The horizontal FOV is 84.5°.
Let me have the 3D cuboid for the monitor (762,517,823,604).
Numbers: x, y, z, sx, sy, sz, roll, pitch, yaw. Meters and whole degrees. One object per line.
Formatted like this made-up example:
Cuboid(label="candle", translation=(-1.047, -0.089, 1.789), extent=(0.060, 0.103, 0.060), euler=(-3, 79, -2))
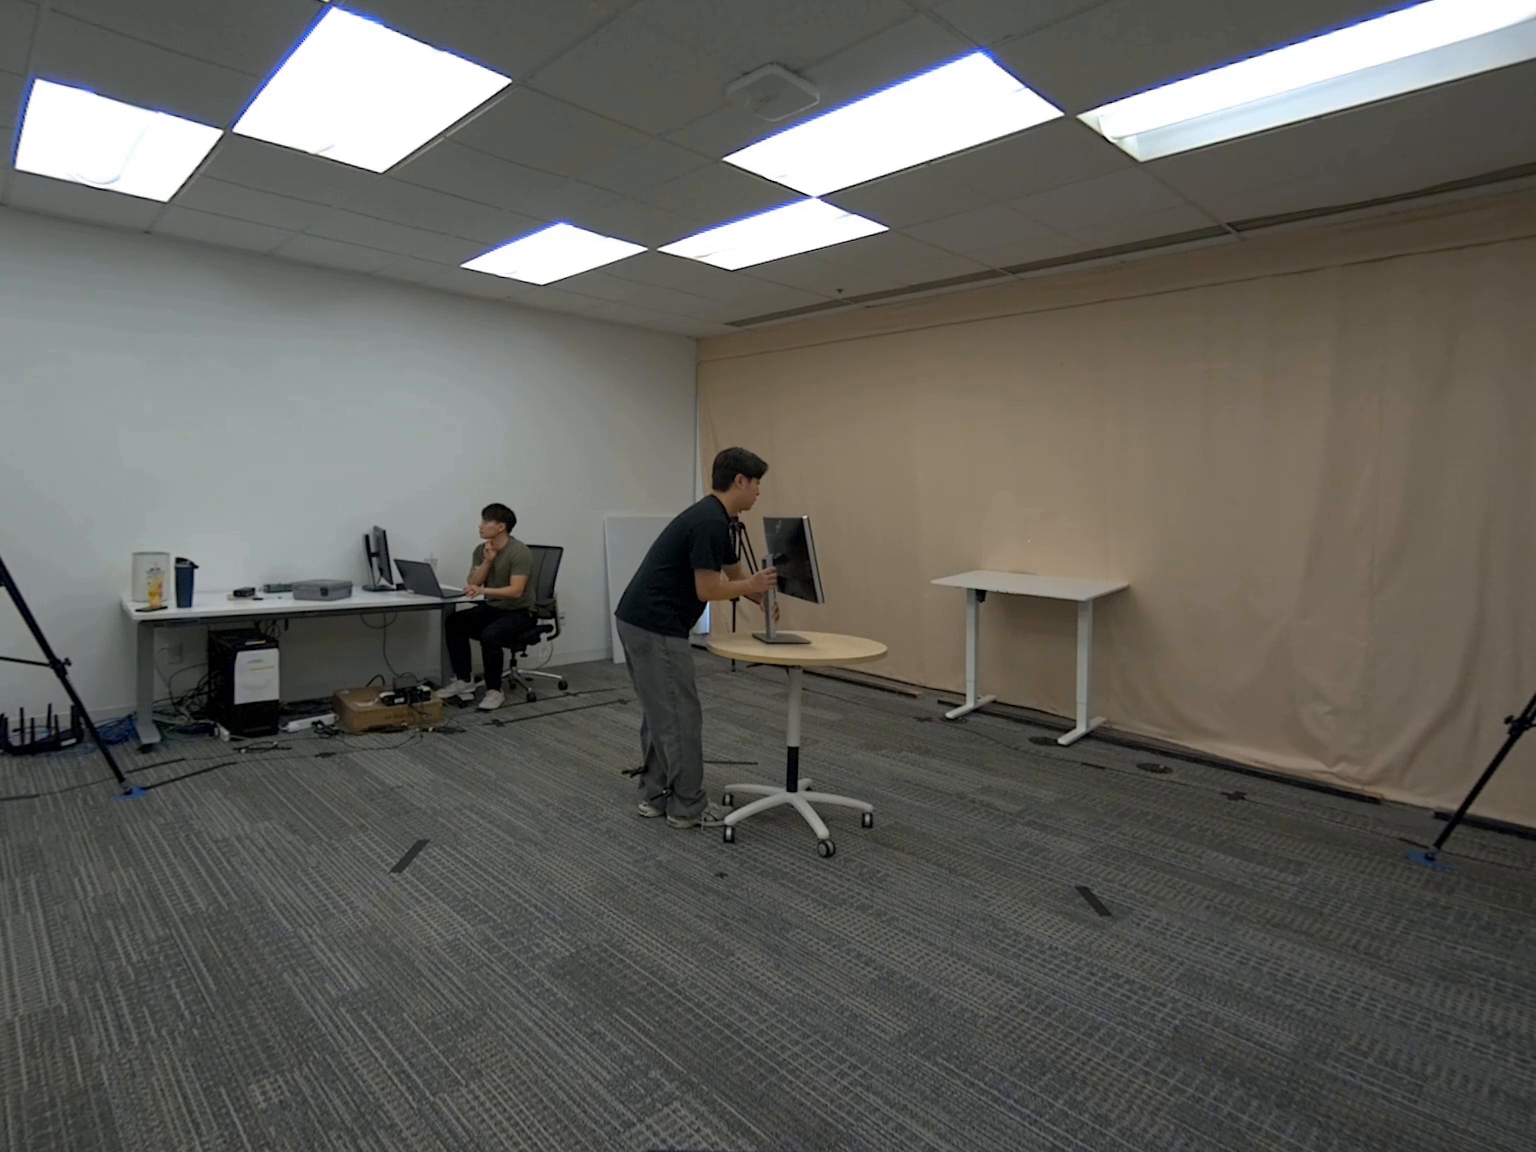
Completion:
Cuboid(label="monitor", translation=(0.063, 0.017, 3.681), extent=(0.220, 0.565, 0.569), euler=(4, 3, -14))
